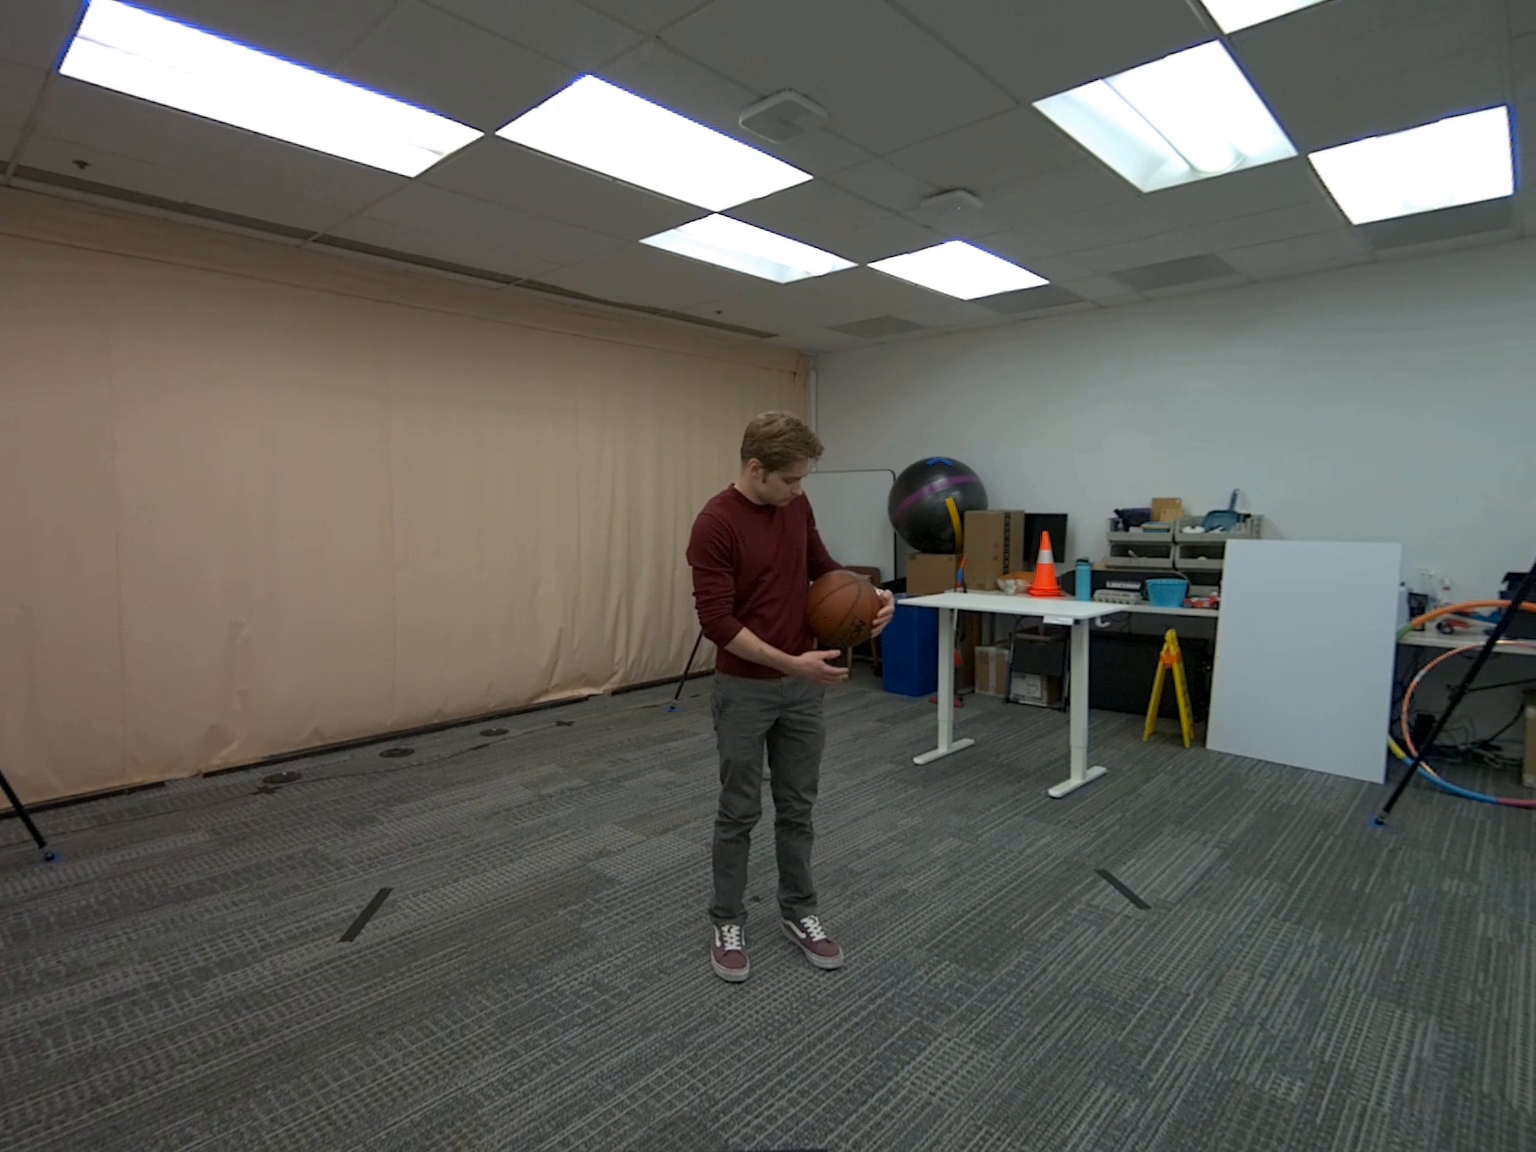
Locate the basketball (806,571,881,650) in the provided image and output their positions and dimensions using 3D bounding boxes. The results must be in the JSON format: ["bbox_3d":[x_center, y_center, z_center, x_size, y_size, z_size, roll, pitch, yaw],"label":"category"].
[{"bbox_3d":[0.225,0.105,2.595,0.236,0.235,0.237,0,4,-2],"label":"basketball"}]
